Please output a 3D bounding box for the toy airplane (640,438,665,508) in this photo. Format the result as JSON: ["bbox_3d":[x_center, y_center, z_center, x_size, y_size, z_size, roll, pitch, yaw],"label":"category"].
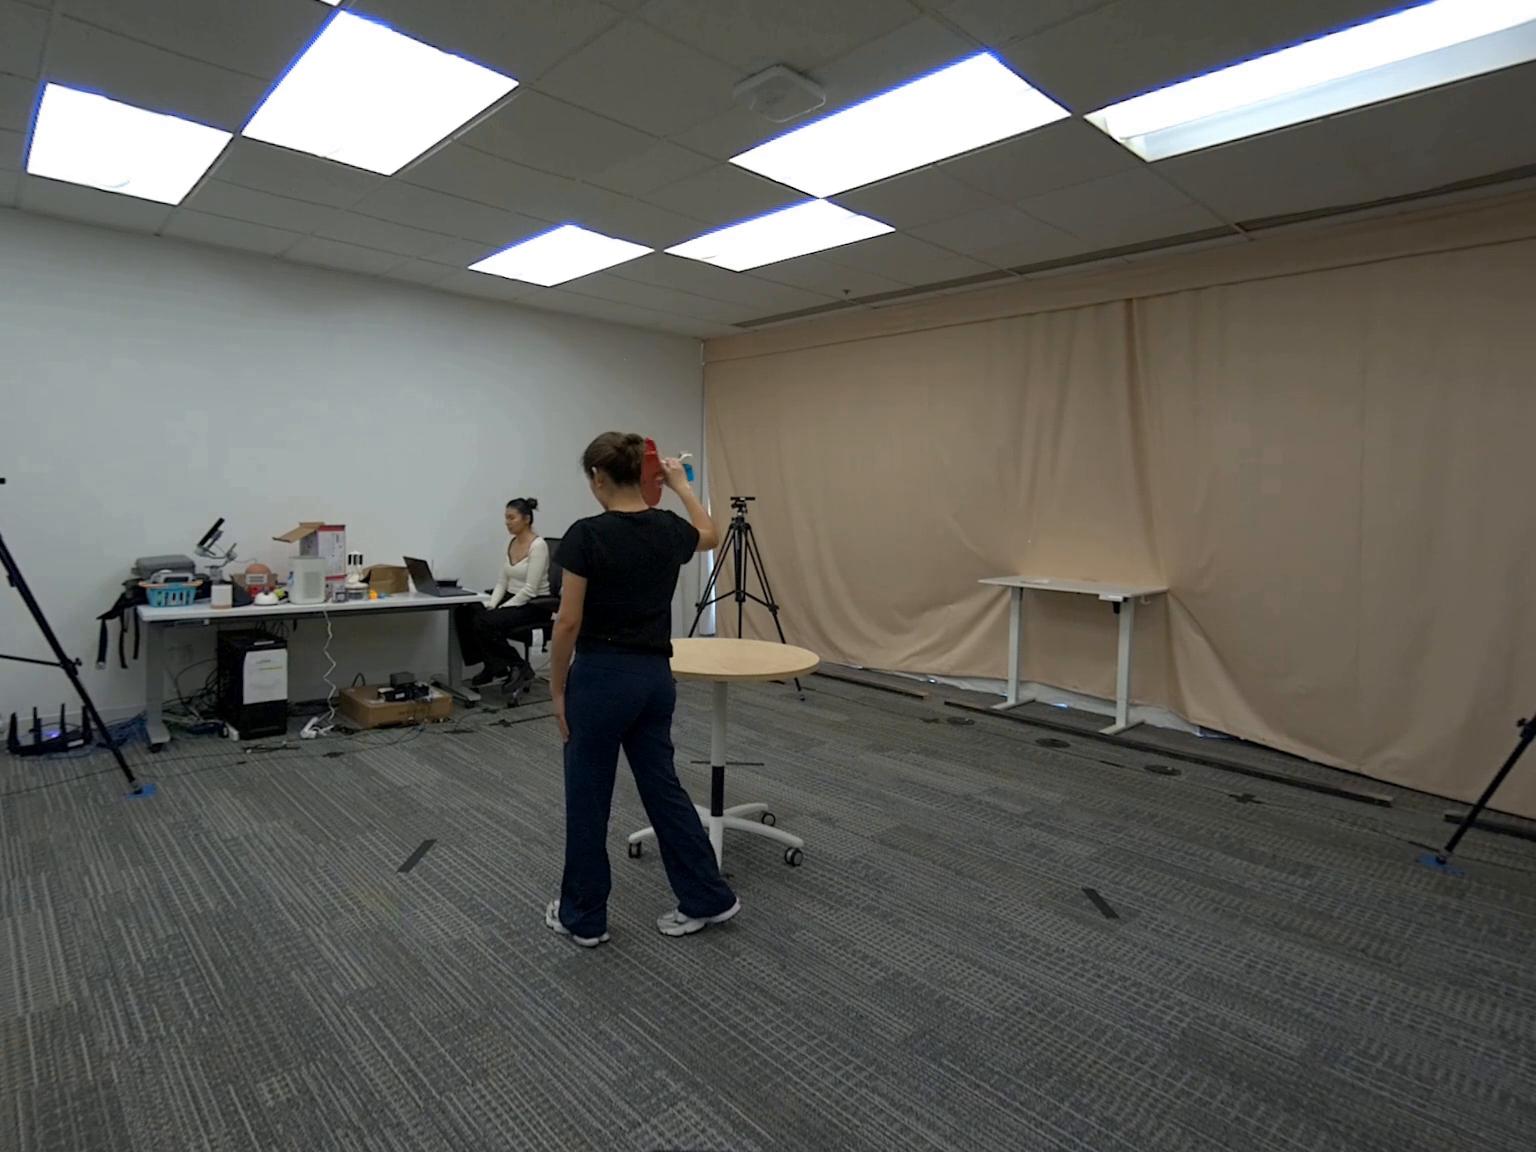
[{"bbox_3d":[-0.399,-0.382,3.024,0.261,0.160,0.243,-18,-47,19],"label":"toy airplane"}]
